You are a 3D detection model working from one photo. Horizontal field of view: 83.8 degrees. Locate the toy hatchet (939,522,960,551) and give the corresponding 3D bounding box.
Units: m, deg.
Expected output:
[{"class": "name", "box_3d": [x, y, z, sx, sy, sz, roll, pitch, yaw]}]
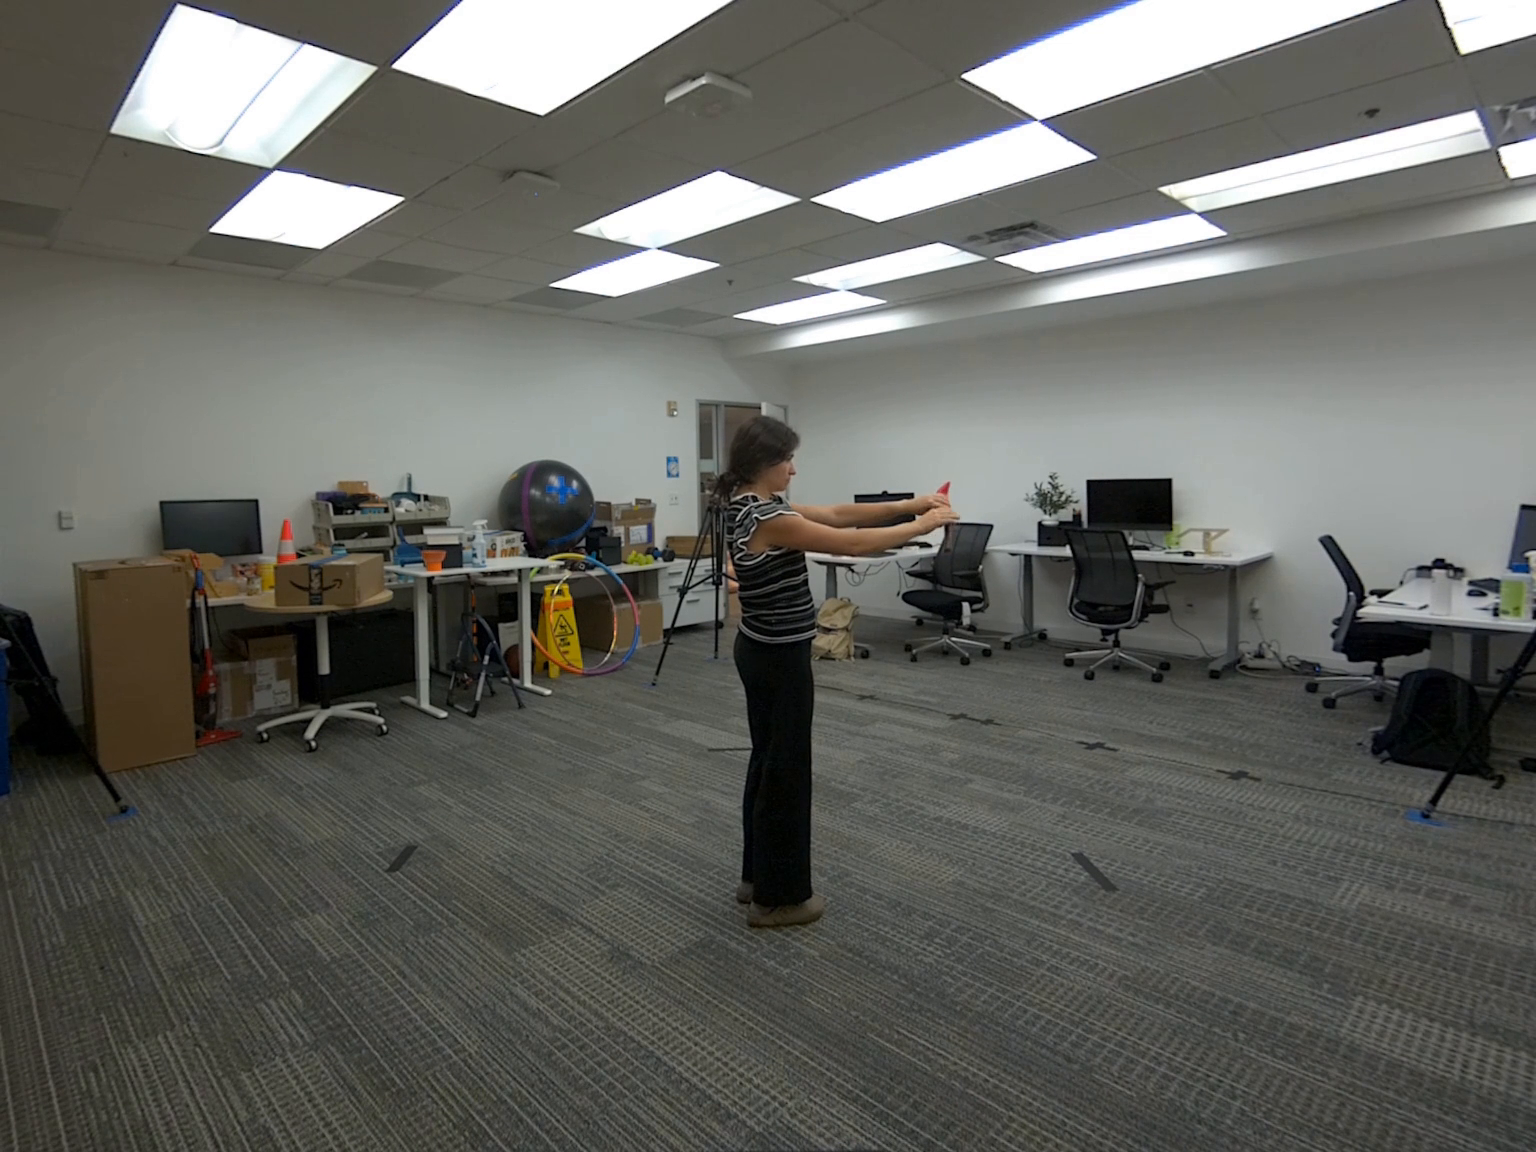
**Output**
[{"class": "toy hatchet", "box_3d": [0.569, -0.171, 2.731, 0.029, 0.276, 0.129, 10, -35, -10]}]
